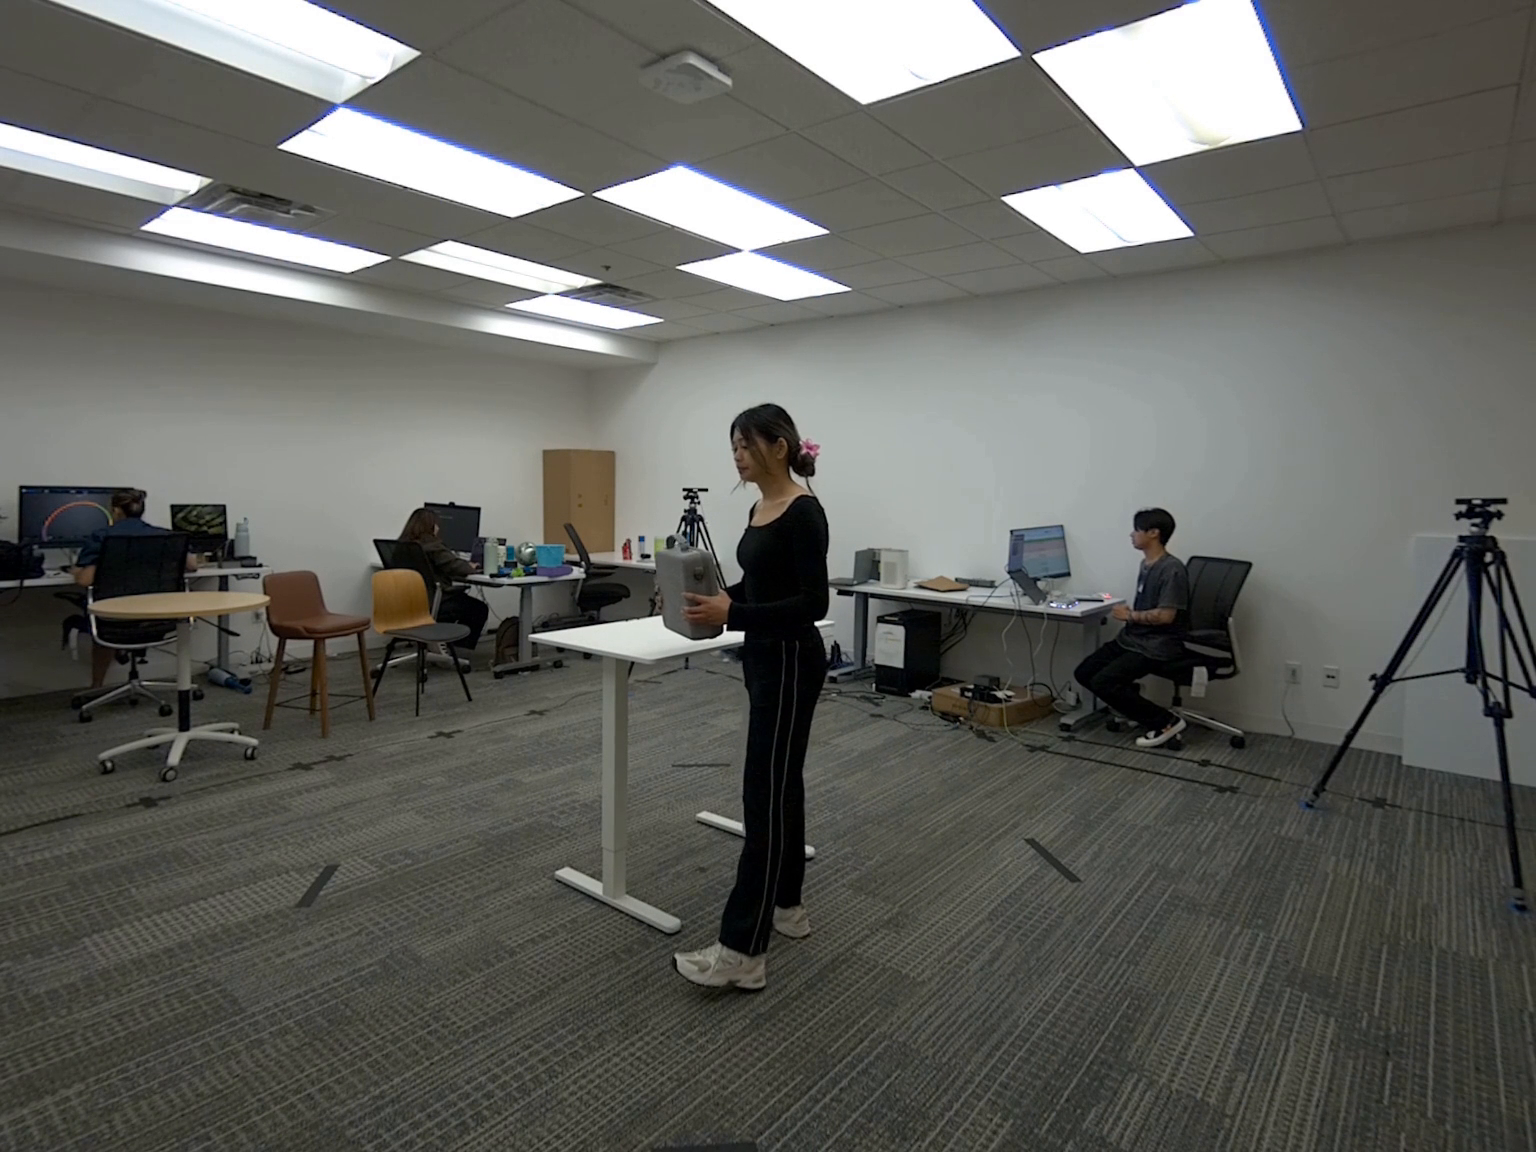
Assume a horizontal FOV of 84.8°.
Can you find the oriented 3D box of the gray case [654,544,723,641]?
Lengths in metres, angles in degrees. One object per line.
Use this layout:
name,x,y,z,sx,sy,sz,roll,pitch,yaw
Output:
gray case,-0.243,0.039,2.459,0.102,0.259,0.263,-10,8,-24
